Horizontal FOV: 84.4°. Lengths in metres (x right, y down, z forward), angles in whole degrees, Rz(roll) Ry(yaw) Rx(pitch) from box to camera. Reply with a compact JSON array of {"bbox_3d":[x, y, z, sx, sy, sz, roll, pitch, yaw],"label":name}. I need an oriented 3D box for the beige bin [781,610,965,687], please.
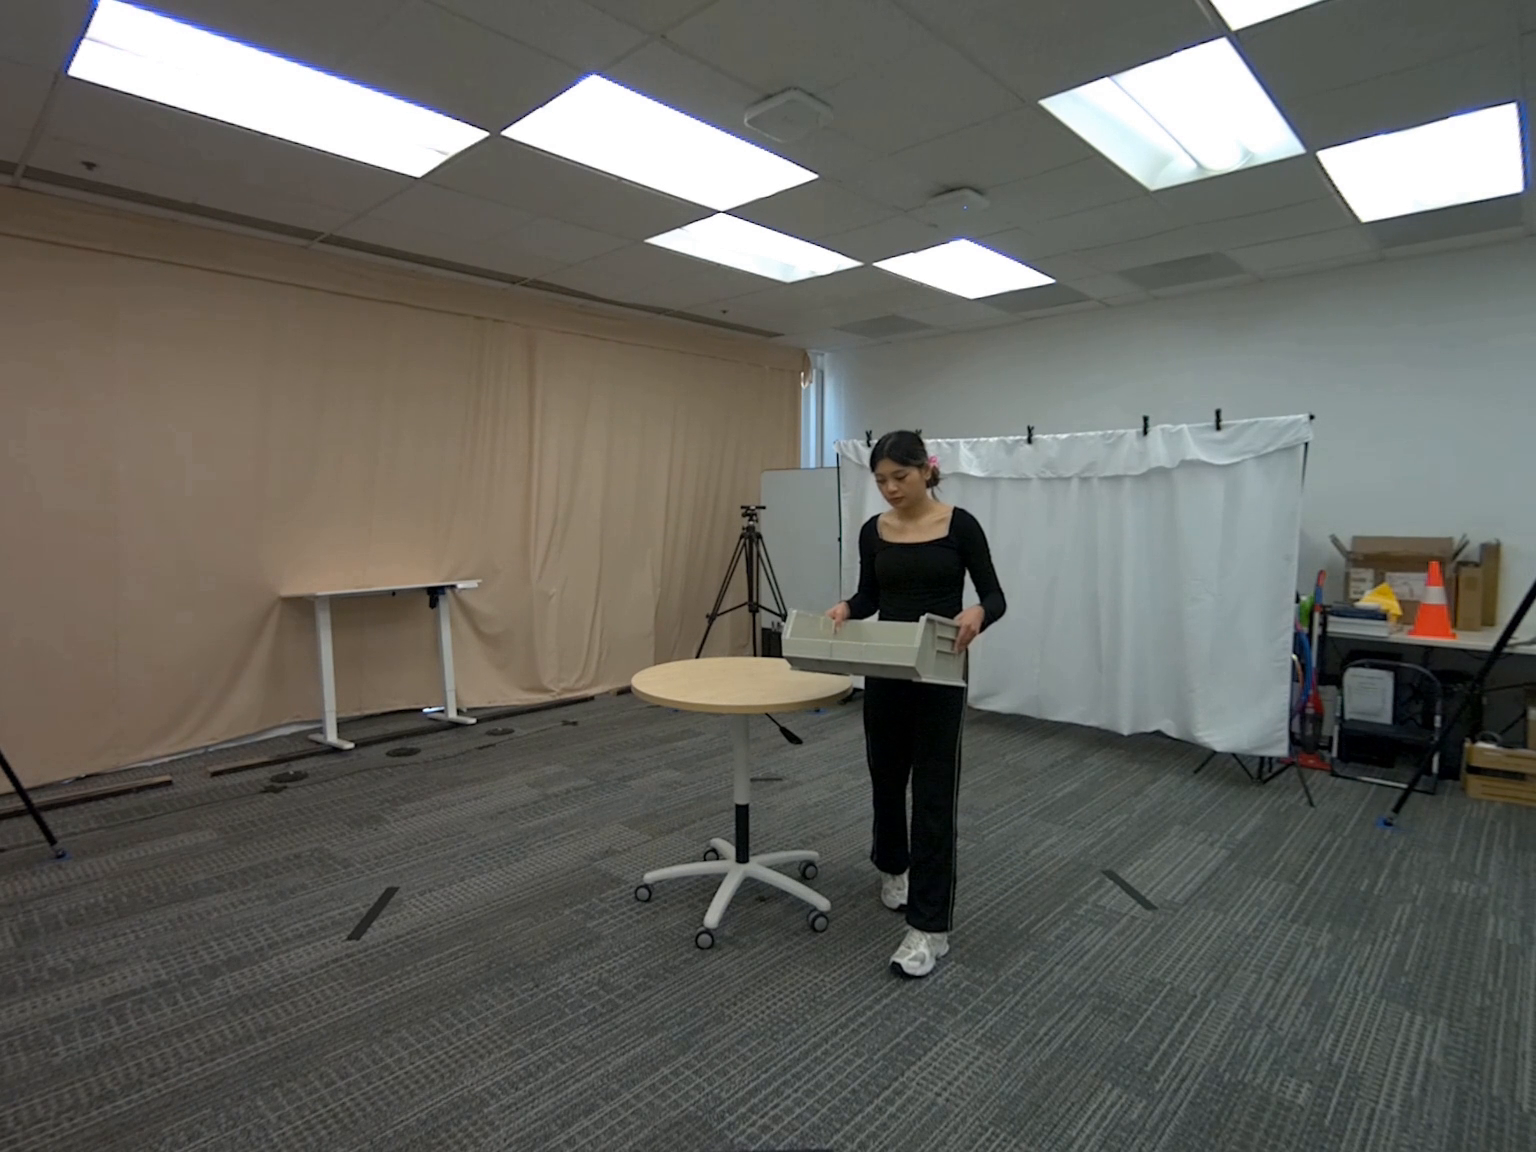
[{"bbox_3d":[0.309,0.206,2.428,0.435,0.190,0.364,0,-10,34],"label":"beige bin"}]
